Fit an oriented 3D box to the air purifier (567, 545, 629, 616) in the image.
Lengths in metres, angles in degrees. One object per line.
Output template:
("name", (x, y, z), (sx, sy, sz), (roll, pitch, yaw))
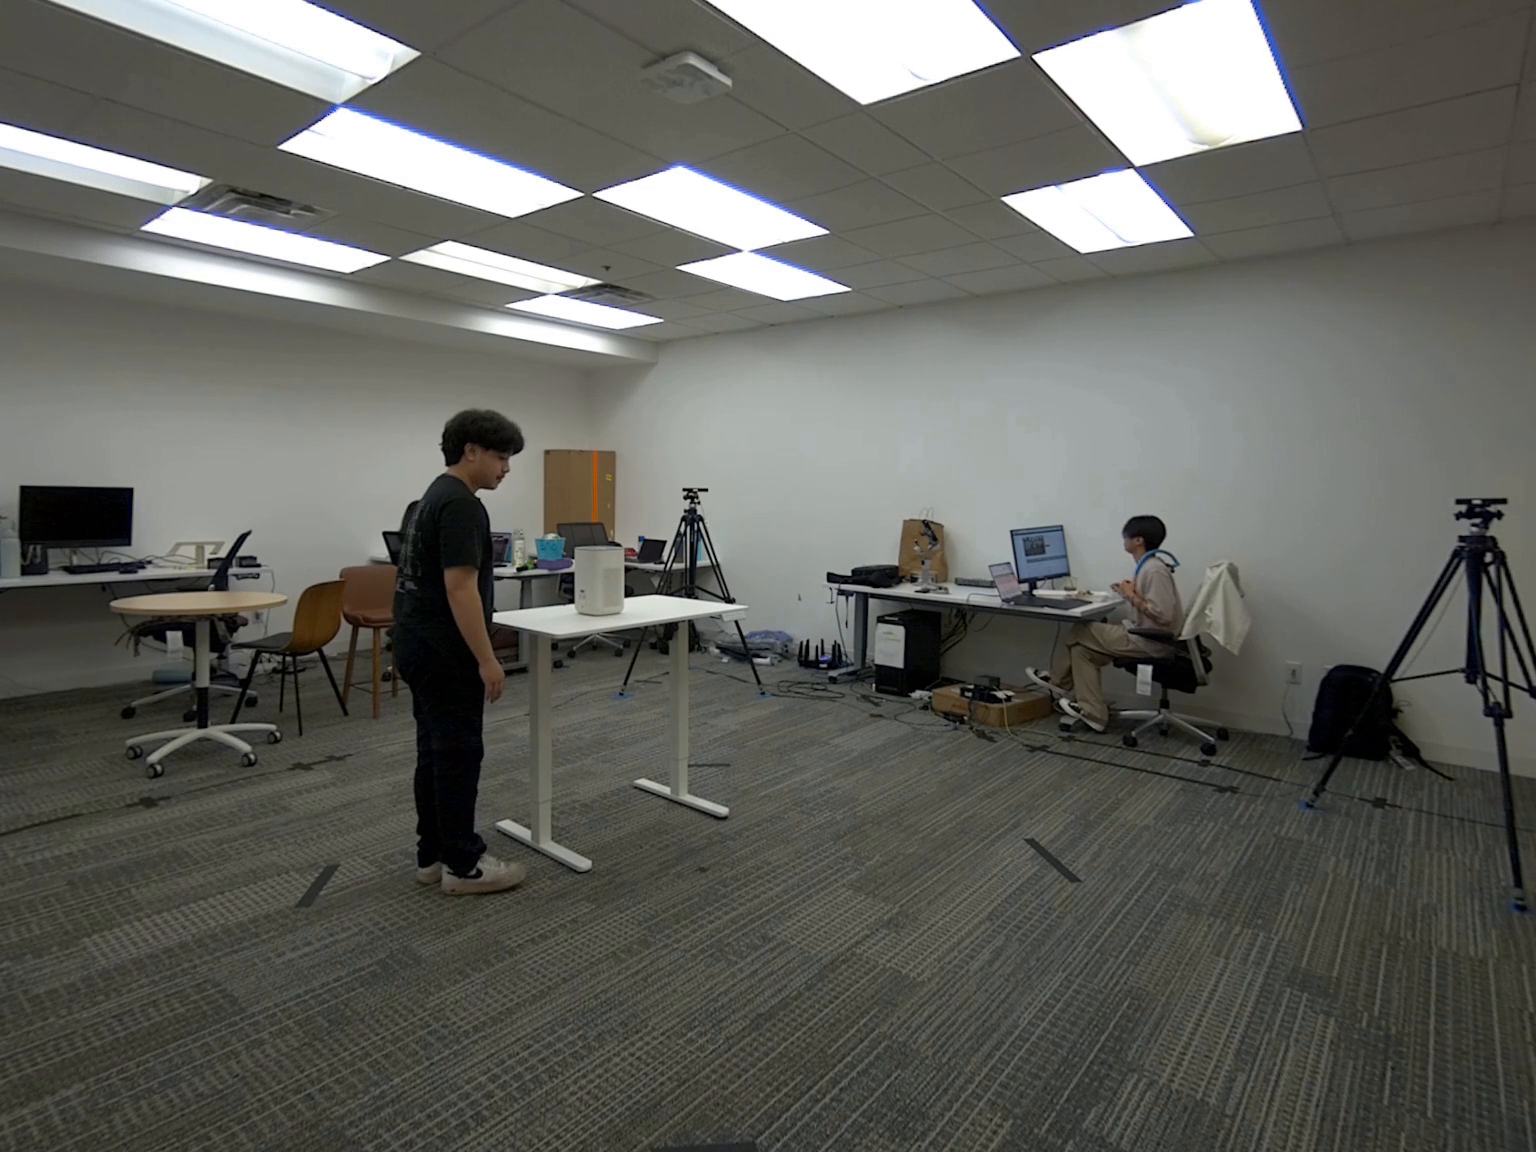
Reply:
("air purifier", (-0.695, 0.013, 3.421), (0.177, 0.265, 0.166), (3, 3, 40))
